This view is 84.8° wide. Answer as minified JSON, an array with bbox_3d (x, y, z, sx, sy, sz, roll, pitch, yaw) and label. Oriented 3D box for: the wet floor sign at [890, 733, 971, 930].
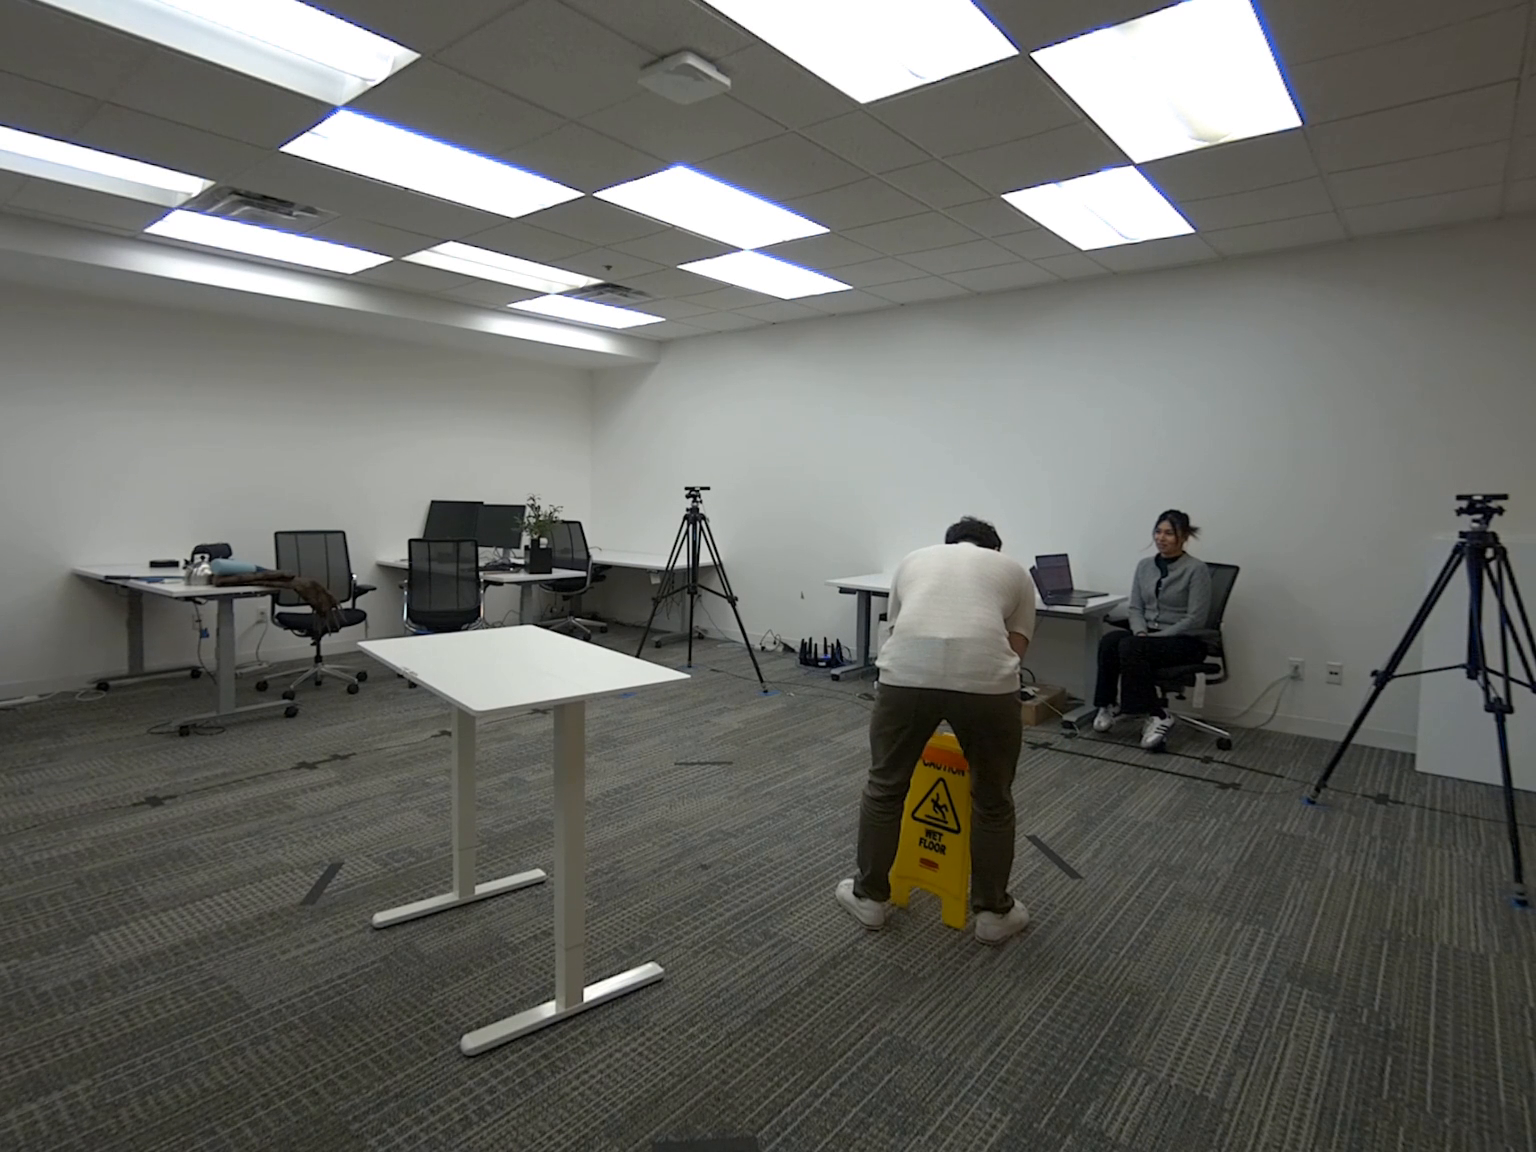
[{"bbox_3d":[0.598,0.769,2.874,0.292,0.643,0.281,6,7,38],"label":"wet floor sign"}]
